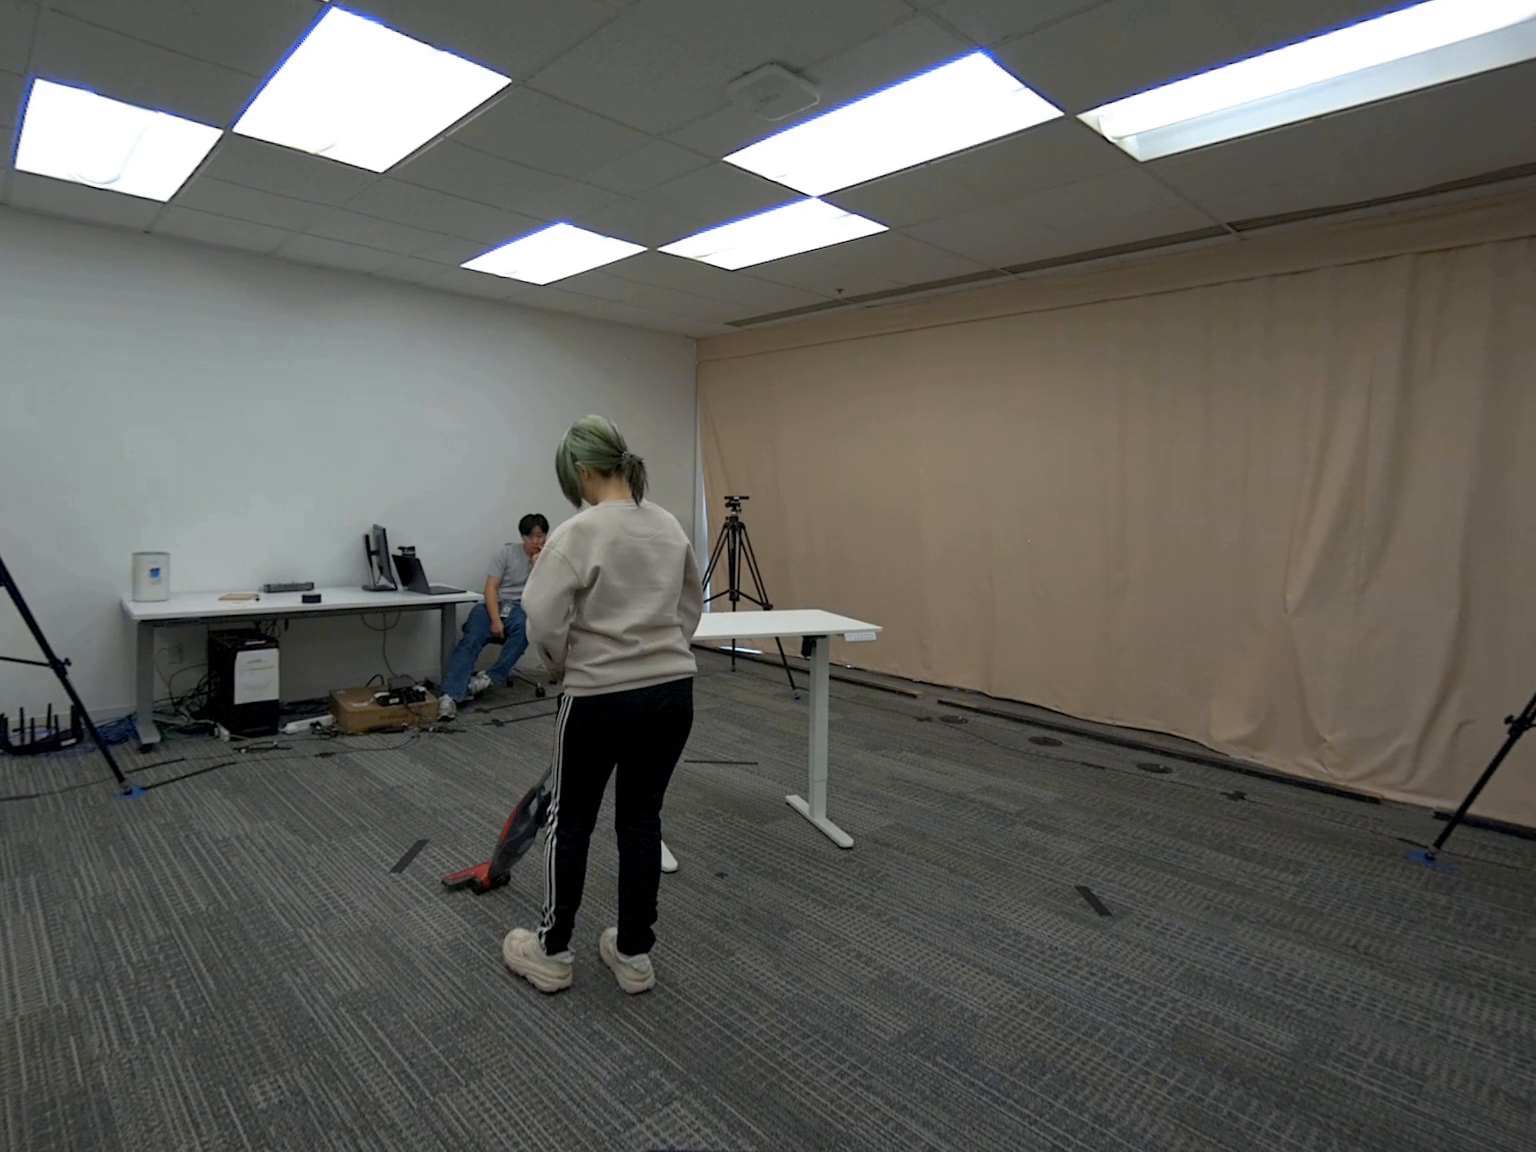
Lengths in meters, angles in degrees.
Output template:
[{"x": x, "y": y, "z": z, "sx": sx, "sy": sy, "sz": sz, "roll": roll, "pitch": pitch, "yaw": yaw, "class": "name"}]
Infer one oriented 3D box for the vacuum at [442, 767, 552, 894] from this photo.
[{"x": -0.753, "y": 0.730, "z": 2.739, "sx": 0.147, "sy": 1.046, "sz": 0.248, "roll": 50, "pitch": 33, "yaw": 20, "class": "vacuum"}]
